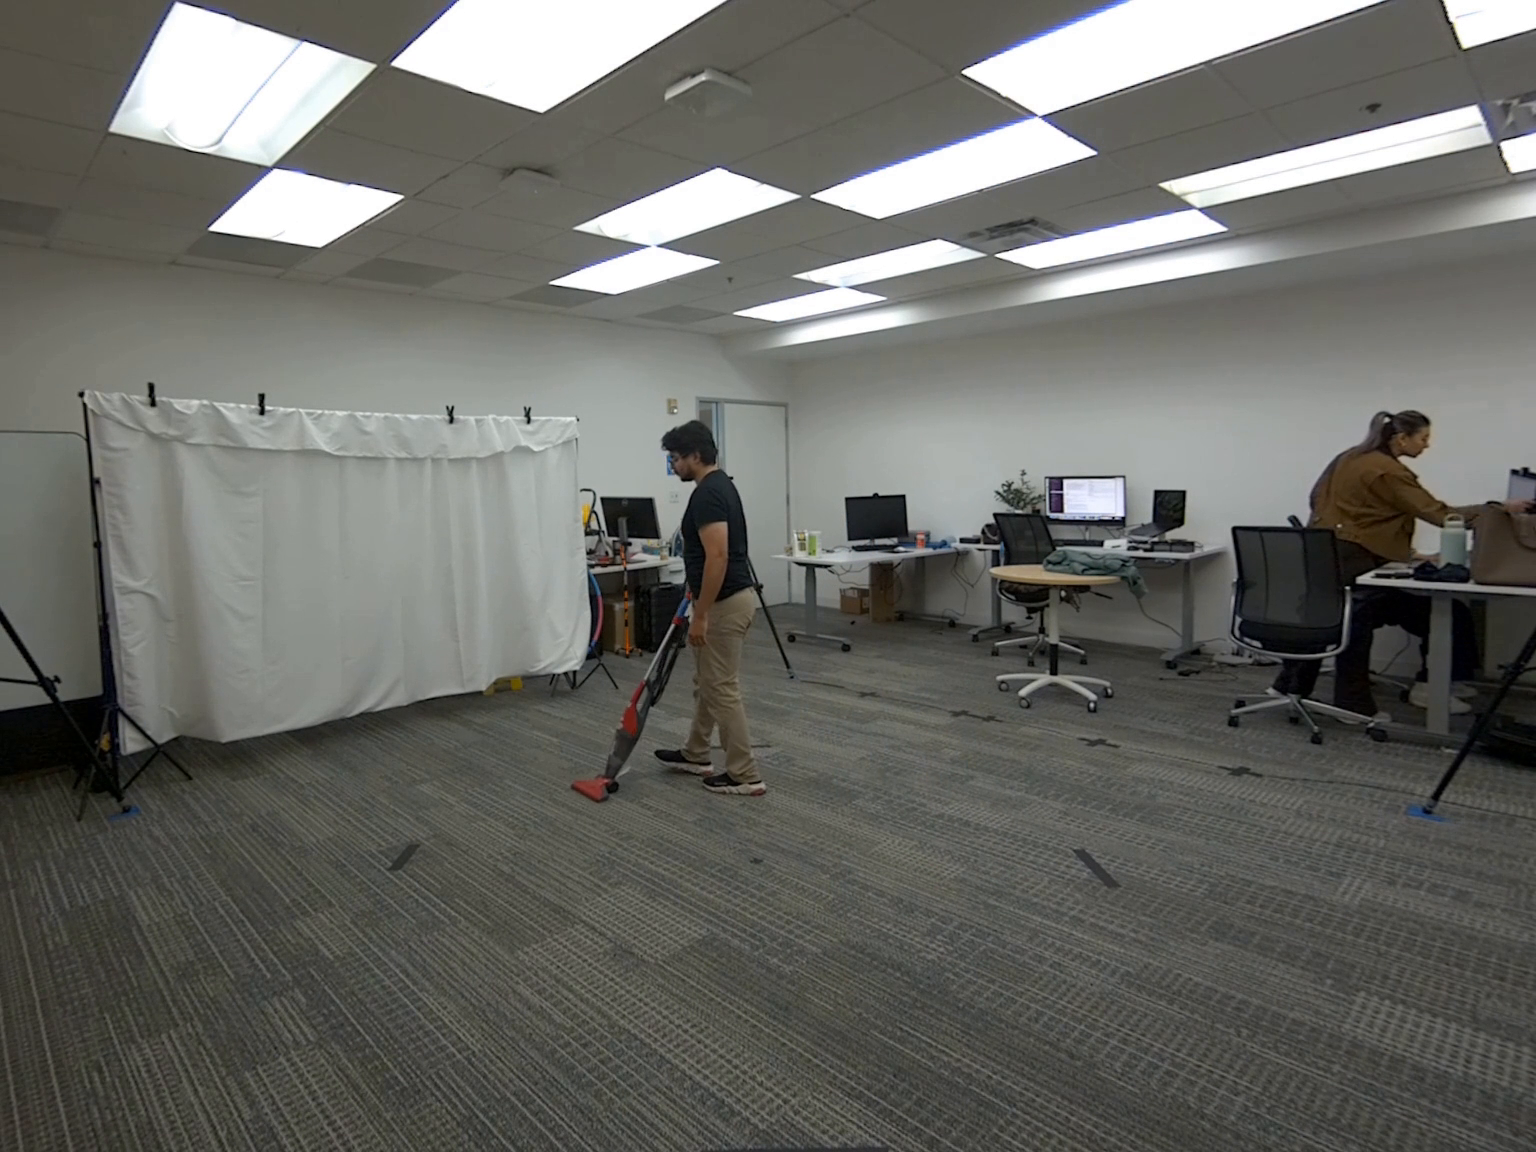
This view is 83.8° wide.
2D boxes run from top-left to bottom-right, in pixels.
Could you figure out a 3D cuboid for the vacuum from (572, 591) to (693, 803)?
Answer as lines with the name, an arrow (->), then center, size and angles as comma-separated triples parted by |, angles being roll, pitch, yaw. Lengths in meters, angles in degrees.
vacuum -> -0.551, 0.515, 3.996 | 0.139, 1.056, 0.260 | 39, -22, -33
